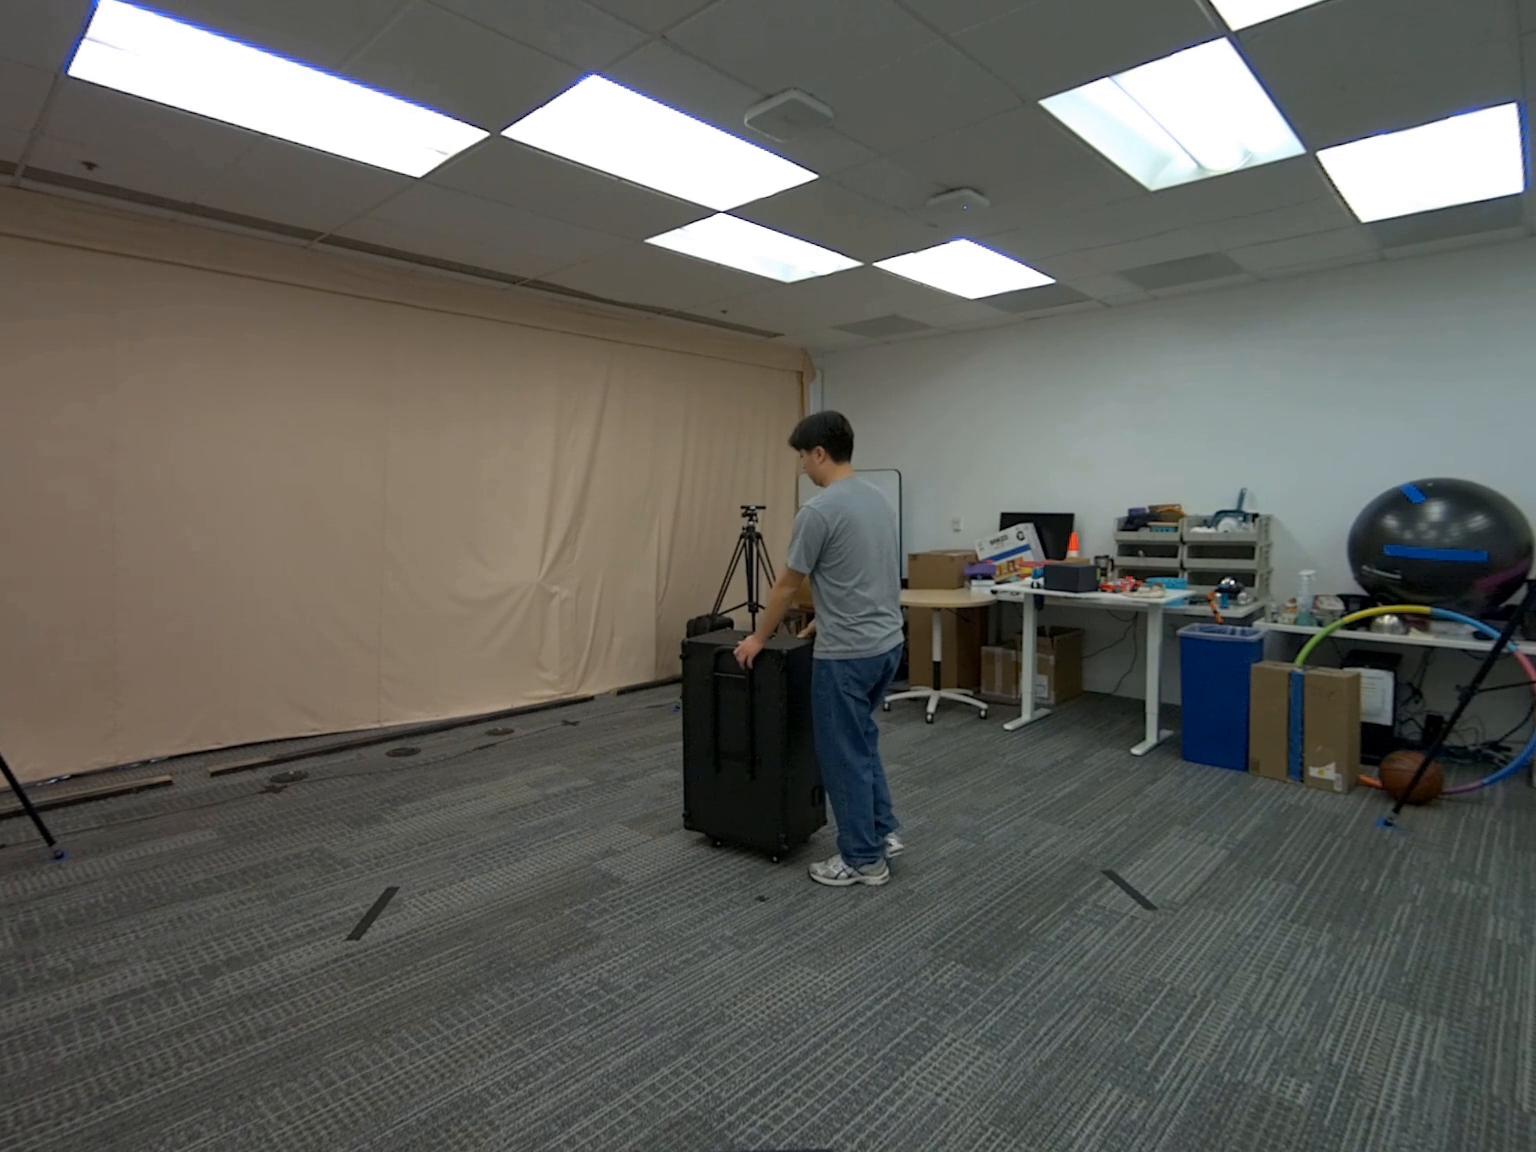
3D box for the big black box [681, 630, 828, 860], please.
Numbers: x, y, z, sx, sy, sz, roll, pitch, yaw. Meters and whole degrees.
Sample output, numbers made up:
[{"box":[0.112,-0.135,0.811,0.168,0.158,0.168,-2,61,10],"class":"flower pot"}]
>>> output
[{"box":[-0.057,0.683,3.444,0.536,0.859,0.386,2,5,30],"class":"big black box"}]
